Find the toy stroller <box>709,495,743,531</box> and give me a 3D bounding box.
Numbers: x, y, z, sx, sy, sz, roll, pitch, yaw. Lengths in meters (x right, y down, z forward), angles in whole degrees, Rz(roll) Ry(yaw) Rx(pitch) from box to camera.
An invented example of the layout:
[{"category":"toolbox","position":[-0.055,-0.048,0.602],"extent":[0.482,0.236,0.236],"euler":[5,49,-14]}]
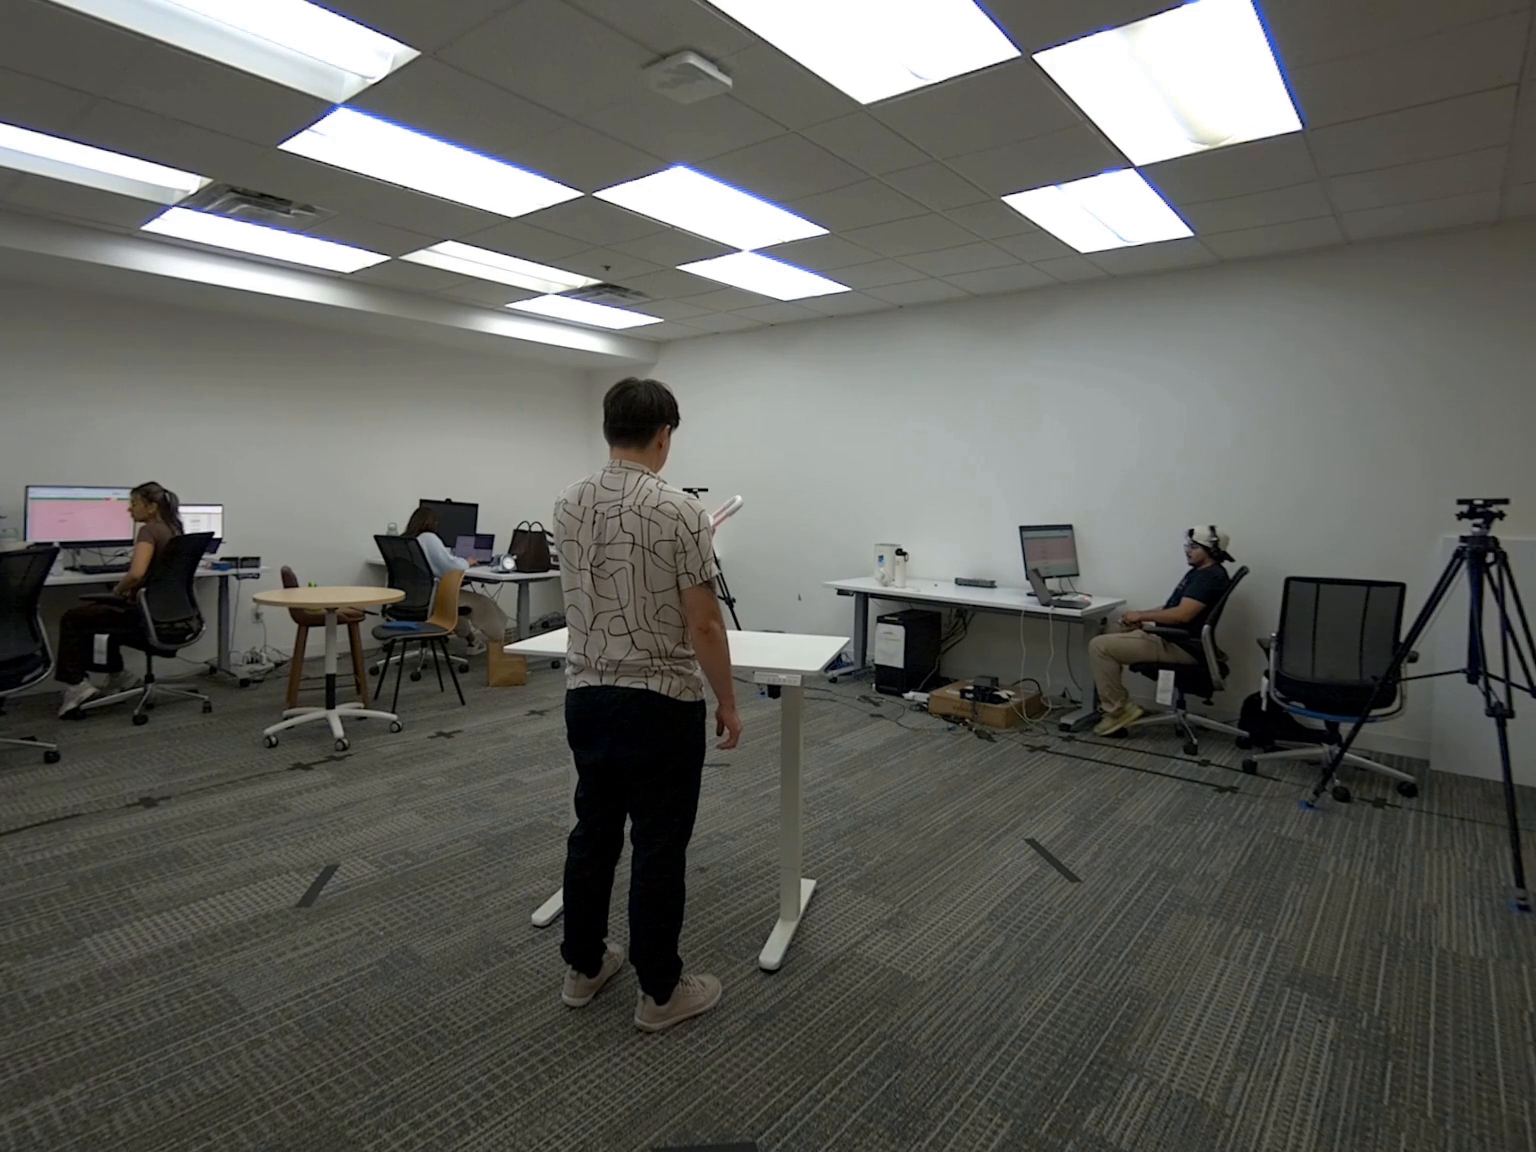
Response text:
[{"category":"toy stroller","position":[-0.324,-0.032,2.817],"extent":[0.340,0.530,0.285],"euler":[9,11,-3]}]
